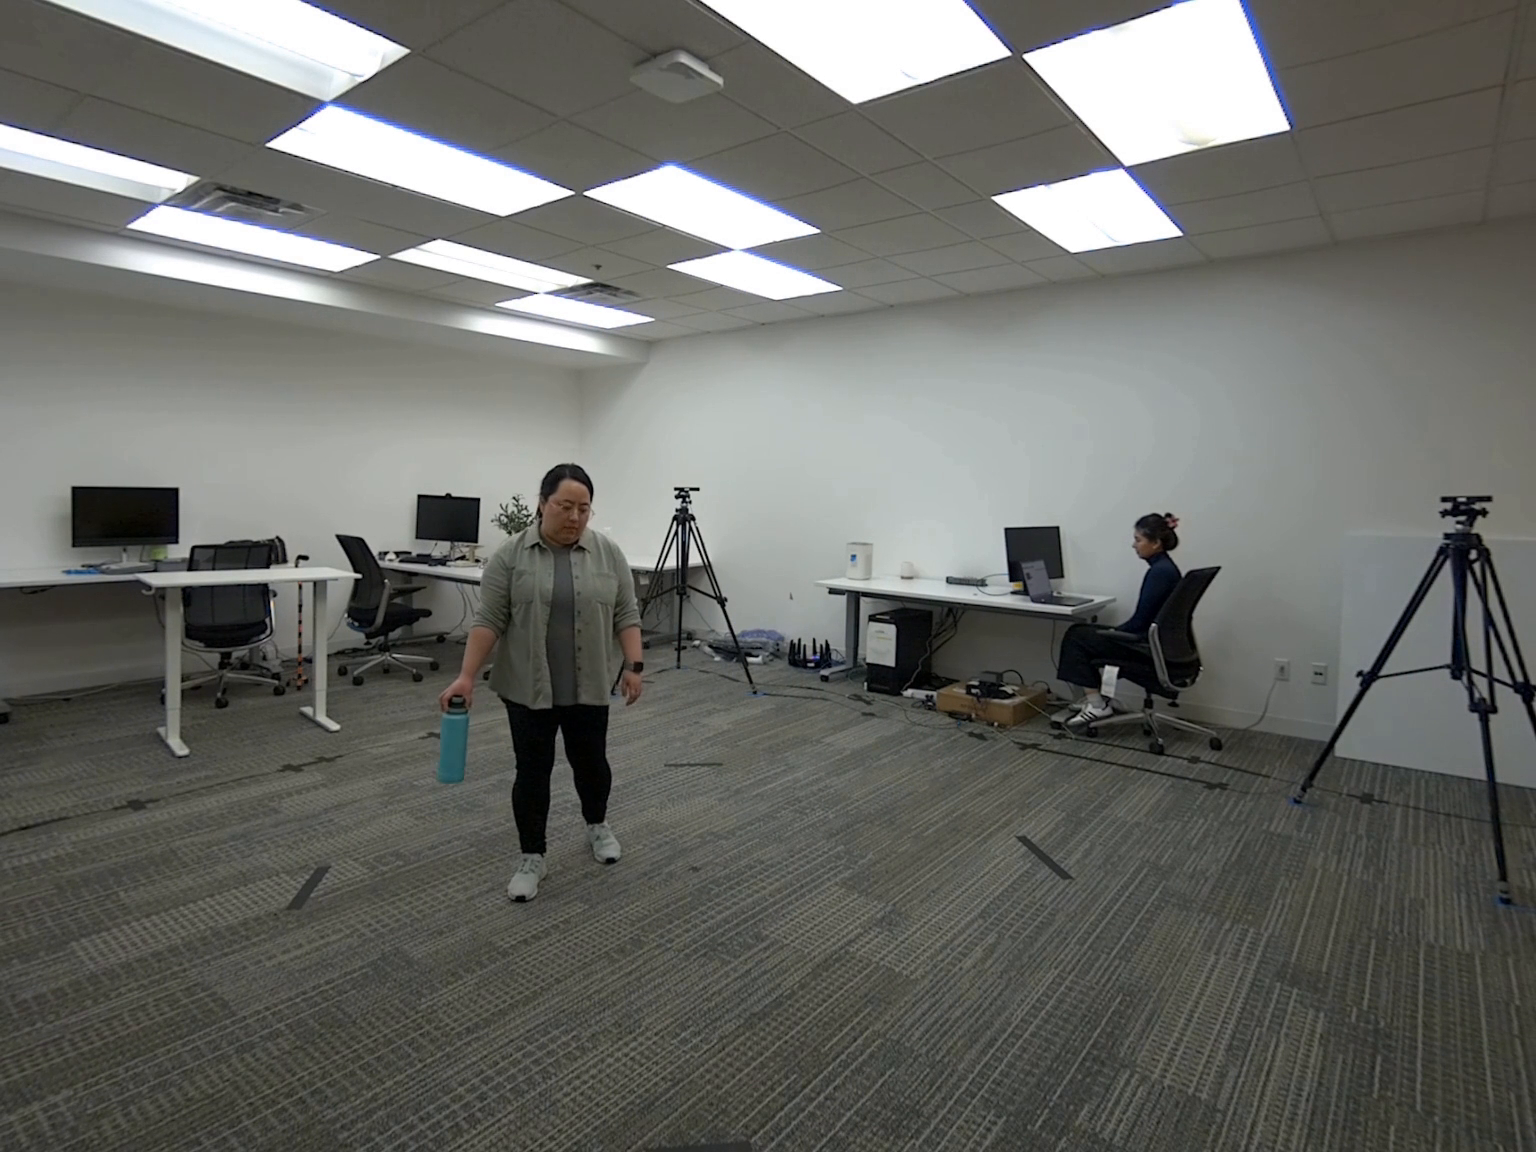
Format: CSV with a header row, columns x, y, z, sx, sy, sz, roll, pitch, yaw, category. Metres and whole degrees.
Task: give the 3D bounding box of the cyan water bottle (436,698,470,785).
x,y,z,sx,sy,sz,roll,pitch,yaw,category
-1.054,0.538,2.835,0.092,0.283,0.092,4,0,-2,cyan water bottle
